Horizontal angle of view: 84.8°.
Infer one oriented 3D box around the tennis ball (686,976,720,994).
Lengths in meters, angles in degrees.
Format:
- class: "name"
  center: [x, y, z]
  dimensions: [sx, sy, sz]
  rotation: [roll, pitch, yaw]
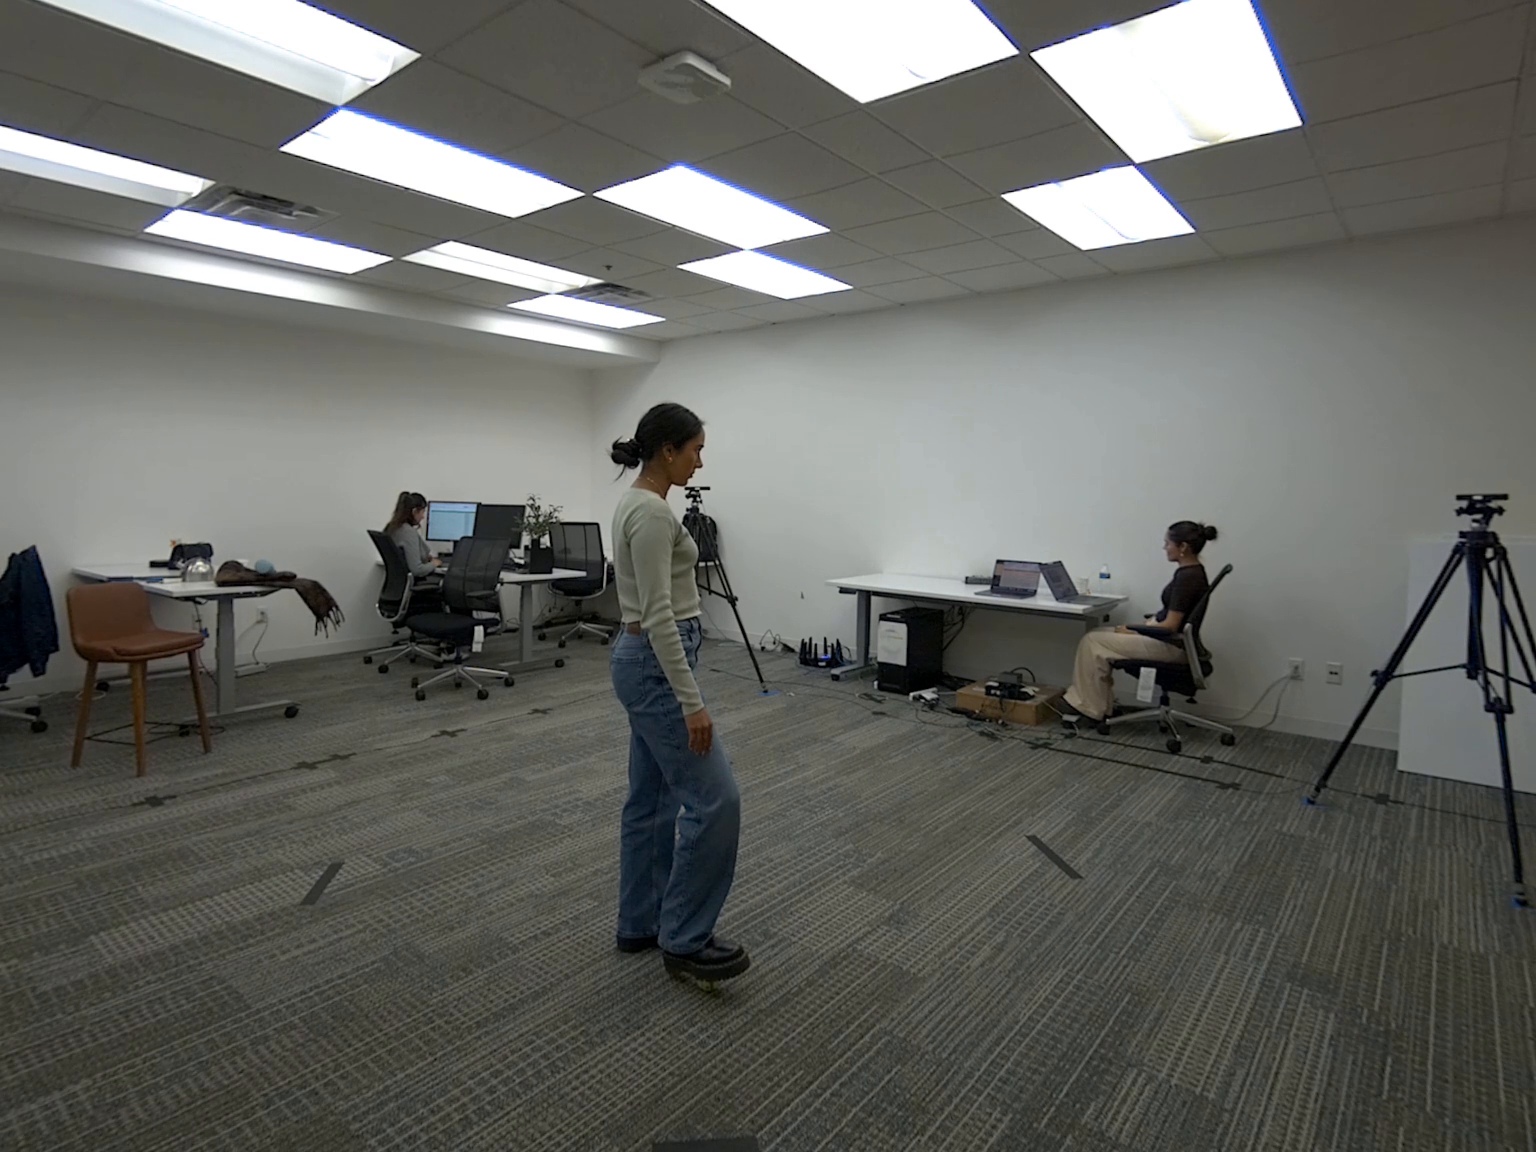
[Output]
- class: "tennis ball"
  center: [-0.170, 1.125, 2.349]
  dimensions: [0.066, 0.066, 0.067]
  rotation: [1, 4, -2]
